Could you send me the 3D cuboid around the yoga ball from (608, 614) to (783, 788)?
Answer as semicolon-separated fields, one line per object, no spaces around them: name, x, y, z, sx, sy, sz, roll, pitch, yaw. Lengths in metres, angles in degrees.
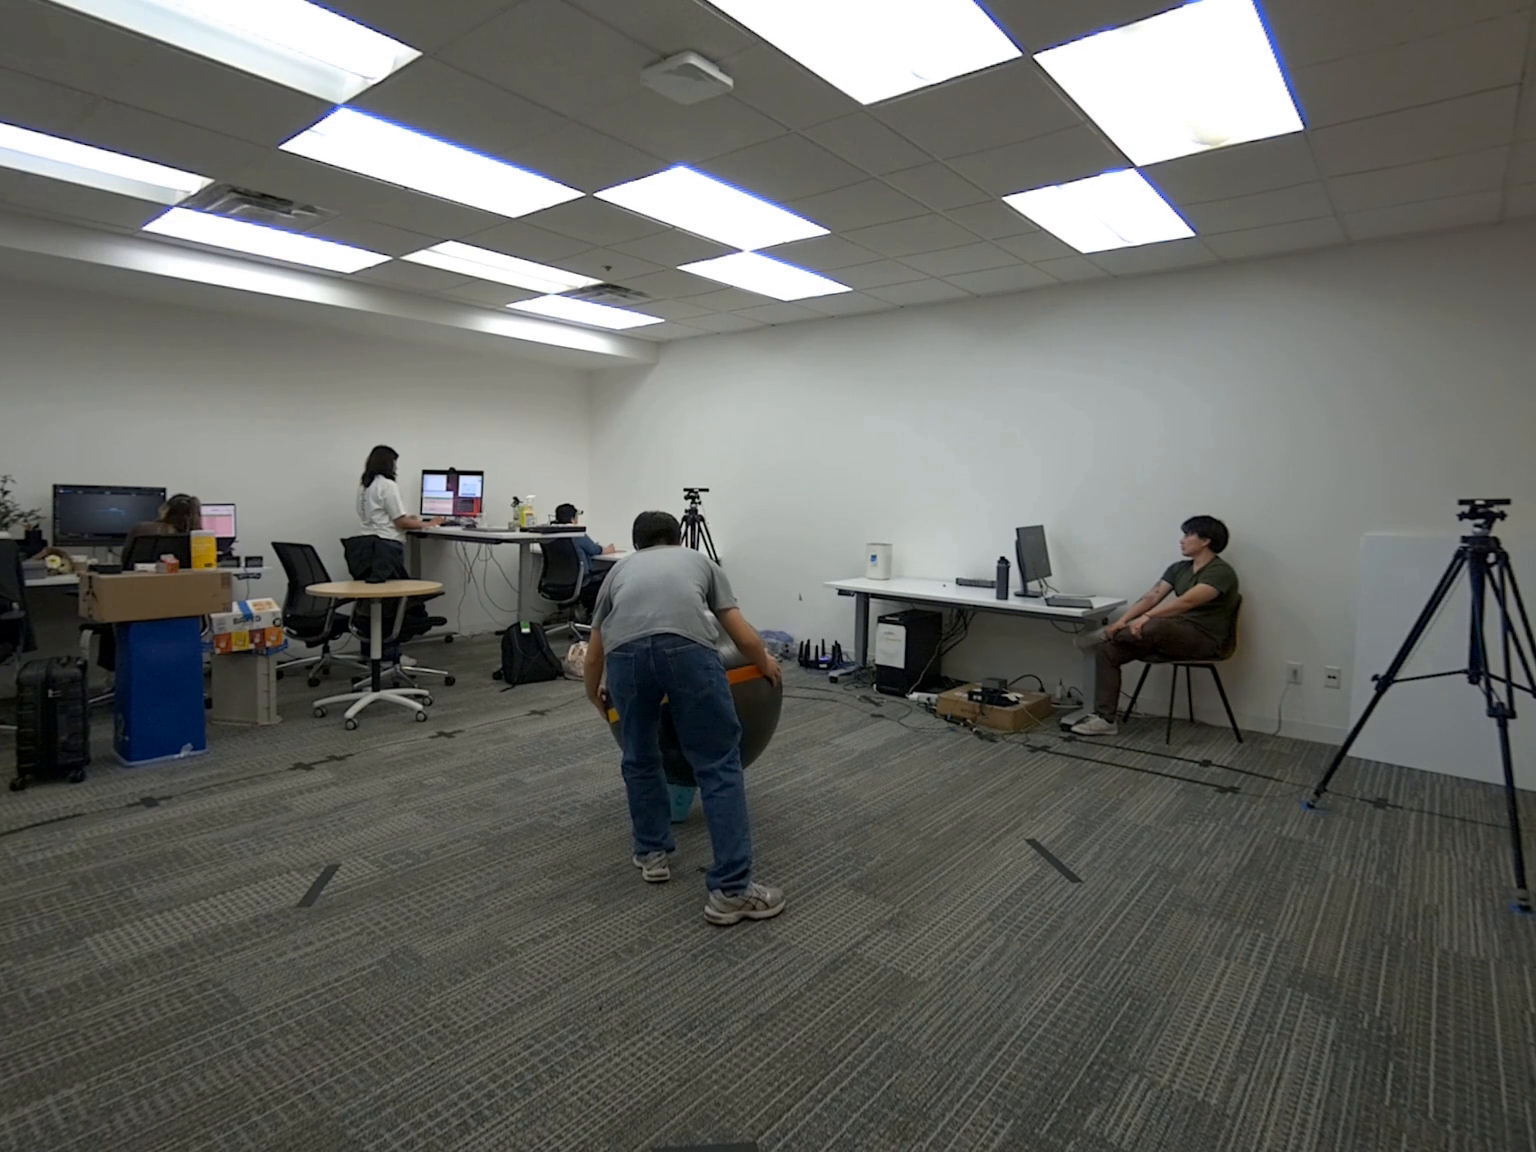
yoga ball;-0.333;0.502;3.622;0.757;0.756;0.761;1;4;-2
